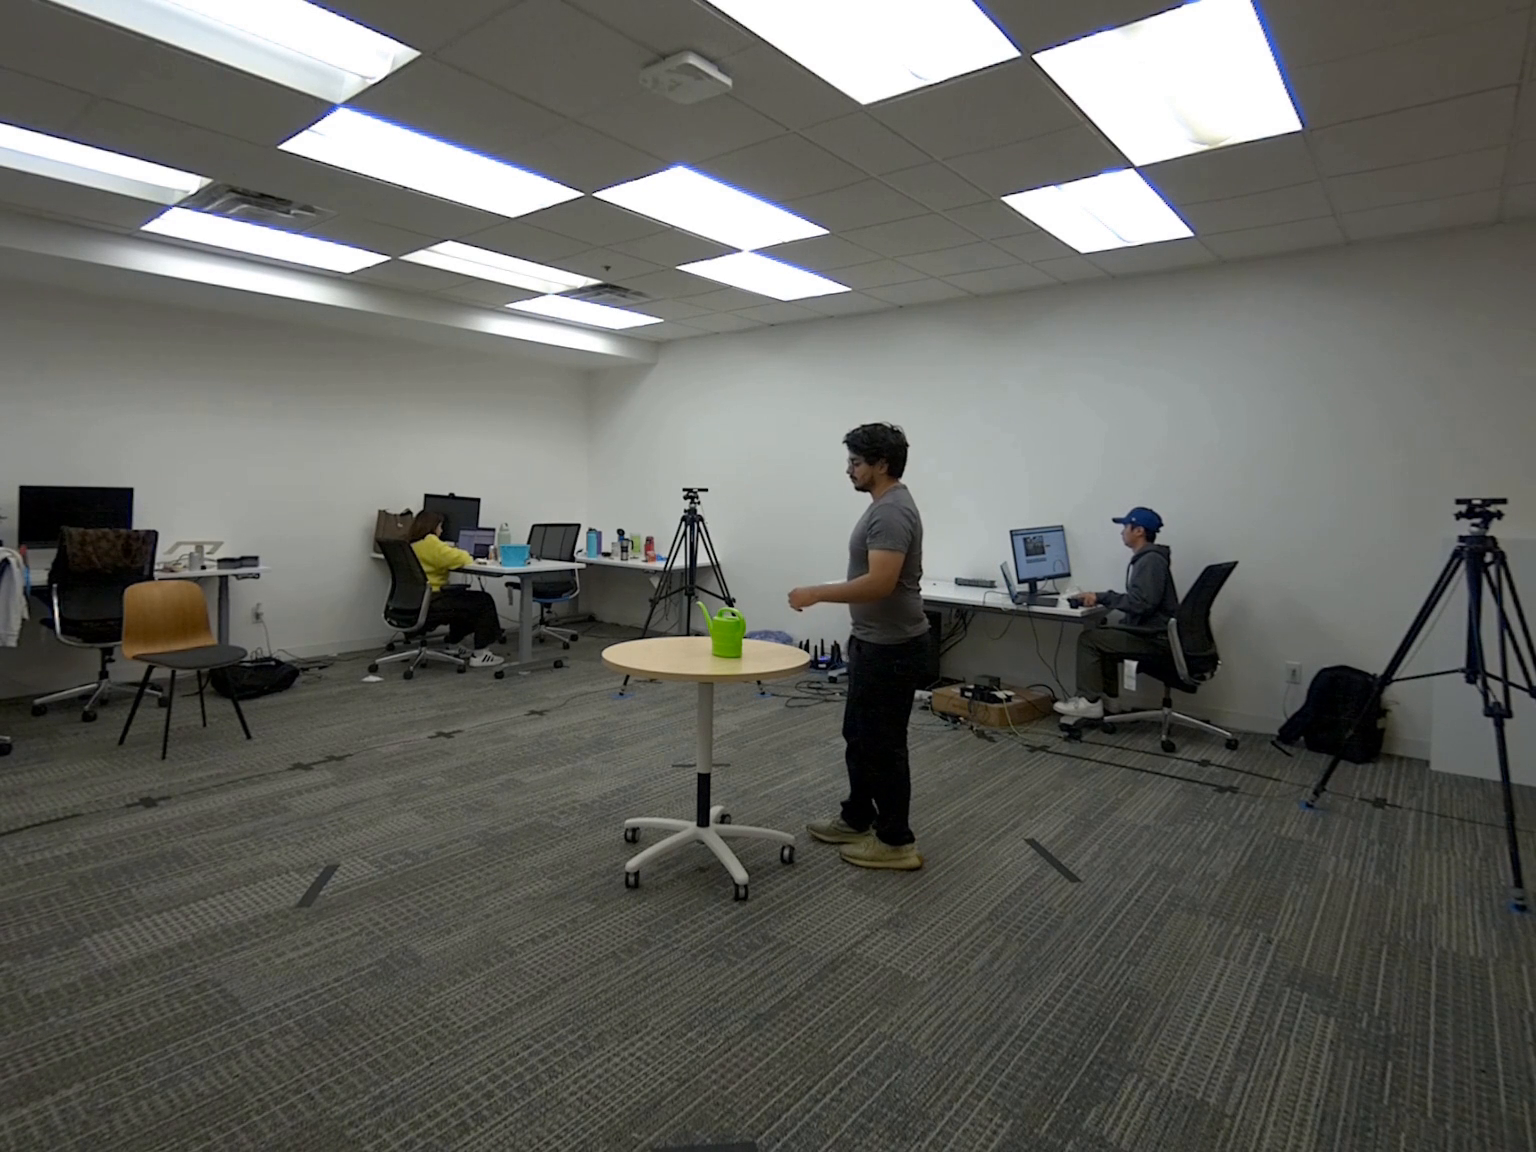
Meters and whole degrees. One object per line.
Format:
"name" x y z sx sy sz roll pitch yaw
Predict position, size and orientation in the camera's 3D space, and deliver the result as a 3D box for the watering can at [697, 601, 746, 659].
"watering can" -0.179 0.195 3.150 0.095 0.176 0.286 -2 6 -28
